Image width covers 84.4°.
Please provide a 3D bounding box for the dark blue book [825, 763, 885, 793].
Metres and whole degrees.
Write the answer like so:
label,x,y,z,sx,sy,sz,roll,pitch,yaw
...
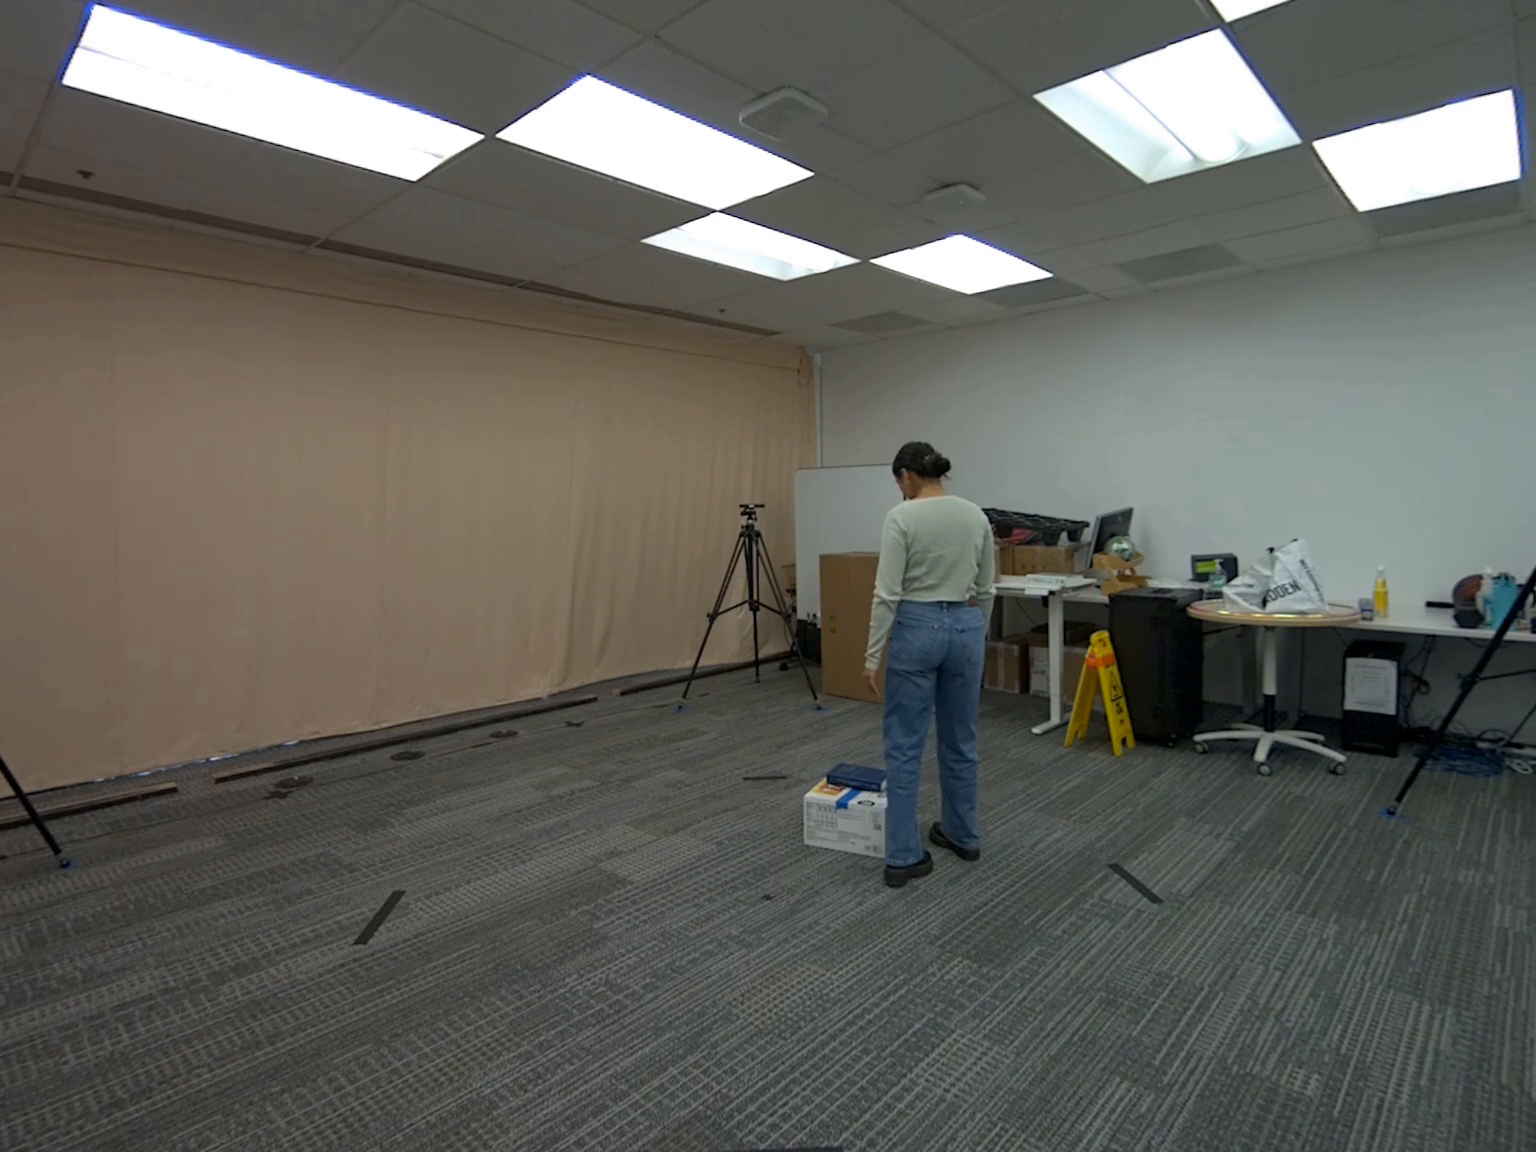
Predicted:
label,x,y,z,sx,sy,sz,roll,pitch,yaw
dark blue book,0.396,0.859,3.598,0.252,0.045,0.159,2,6,28
